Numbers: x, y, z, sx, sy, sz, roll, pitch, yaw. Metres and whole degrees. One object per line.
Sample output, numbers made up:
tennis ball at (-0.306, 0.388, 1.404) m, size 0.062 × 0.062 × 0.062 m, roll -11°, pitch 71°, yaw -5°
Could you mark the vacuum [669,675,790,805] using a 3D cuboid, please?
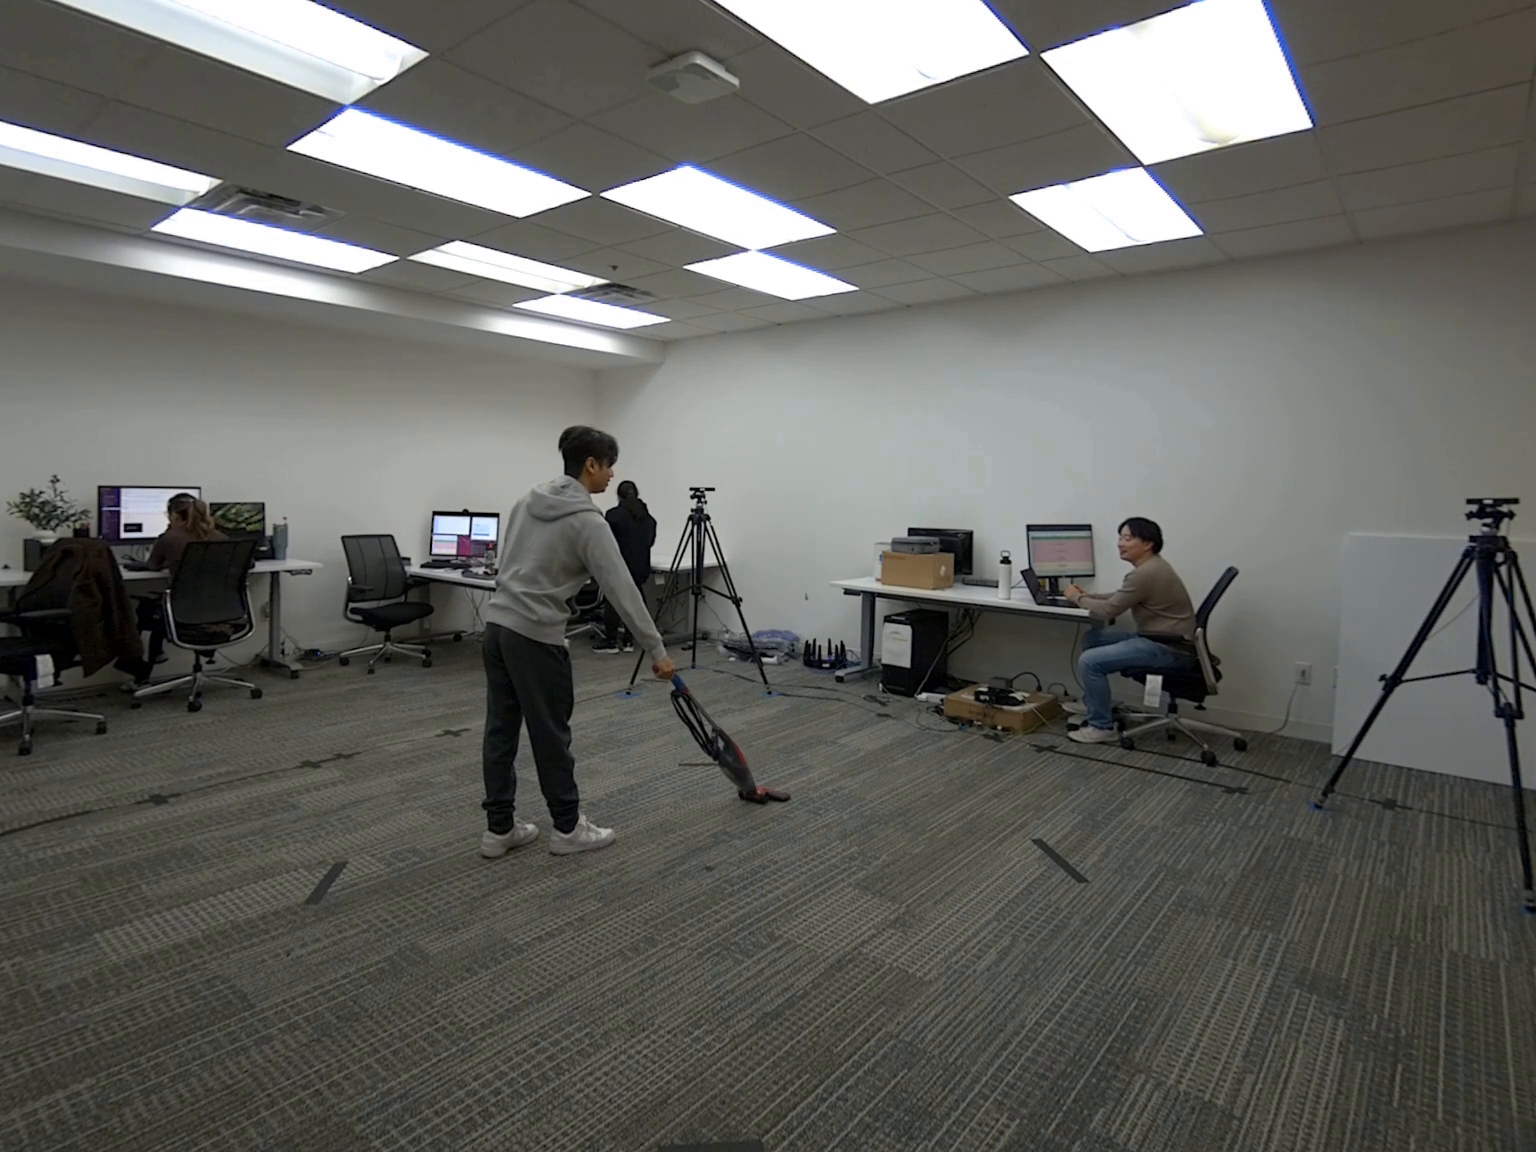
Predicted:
vacuum at (-0.242, 0.671, 3.512) m, size 0.259 × 0.146 × 1.007 m, roll 0°, pitch -40°, yaw 30°
